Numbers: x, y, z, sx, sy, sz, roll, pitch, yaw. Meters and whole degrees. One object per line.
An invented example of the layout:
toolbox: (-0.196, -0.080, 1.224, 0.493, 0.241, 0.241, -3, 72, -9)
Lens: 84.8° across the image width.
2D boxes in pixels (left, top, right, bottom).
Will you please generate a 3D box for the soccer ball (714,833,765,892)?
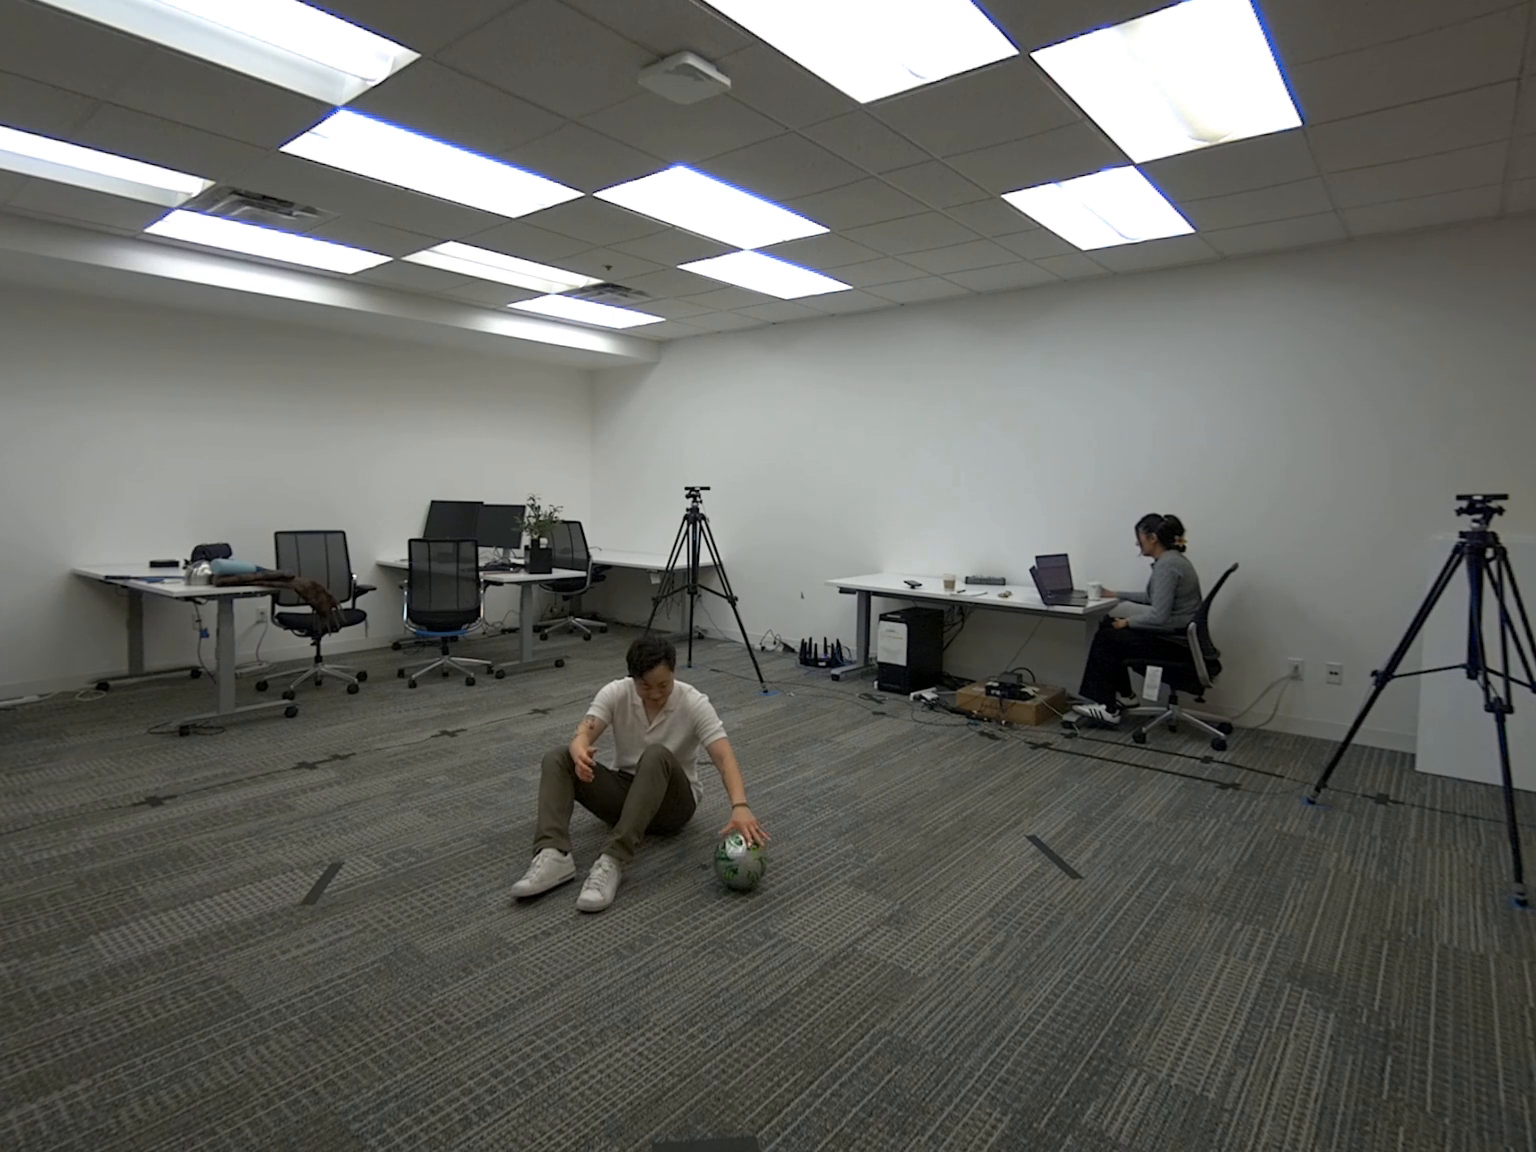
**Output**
soccer ball: (-0.105, 0.990, 2.962, 0.187, 0.187, 0.188, 1, 4, -2)
